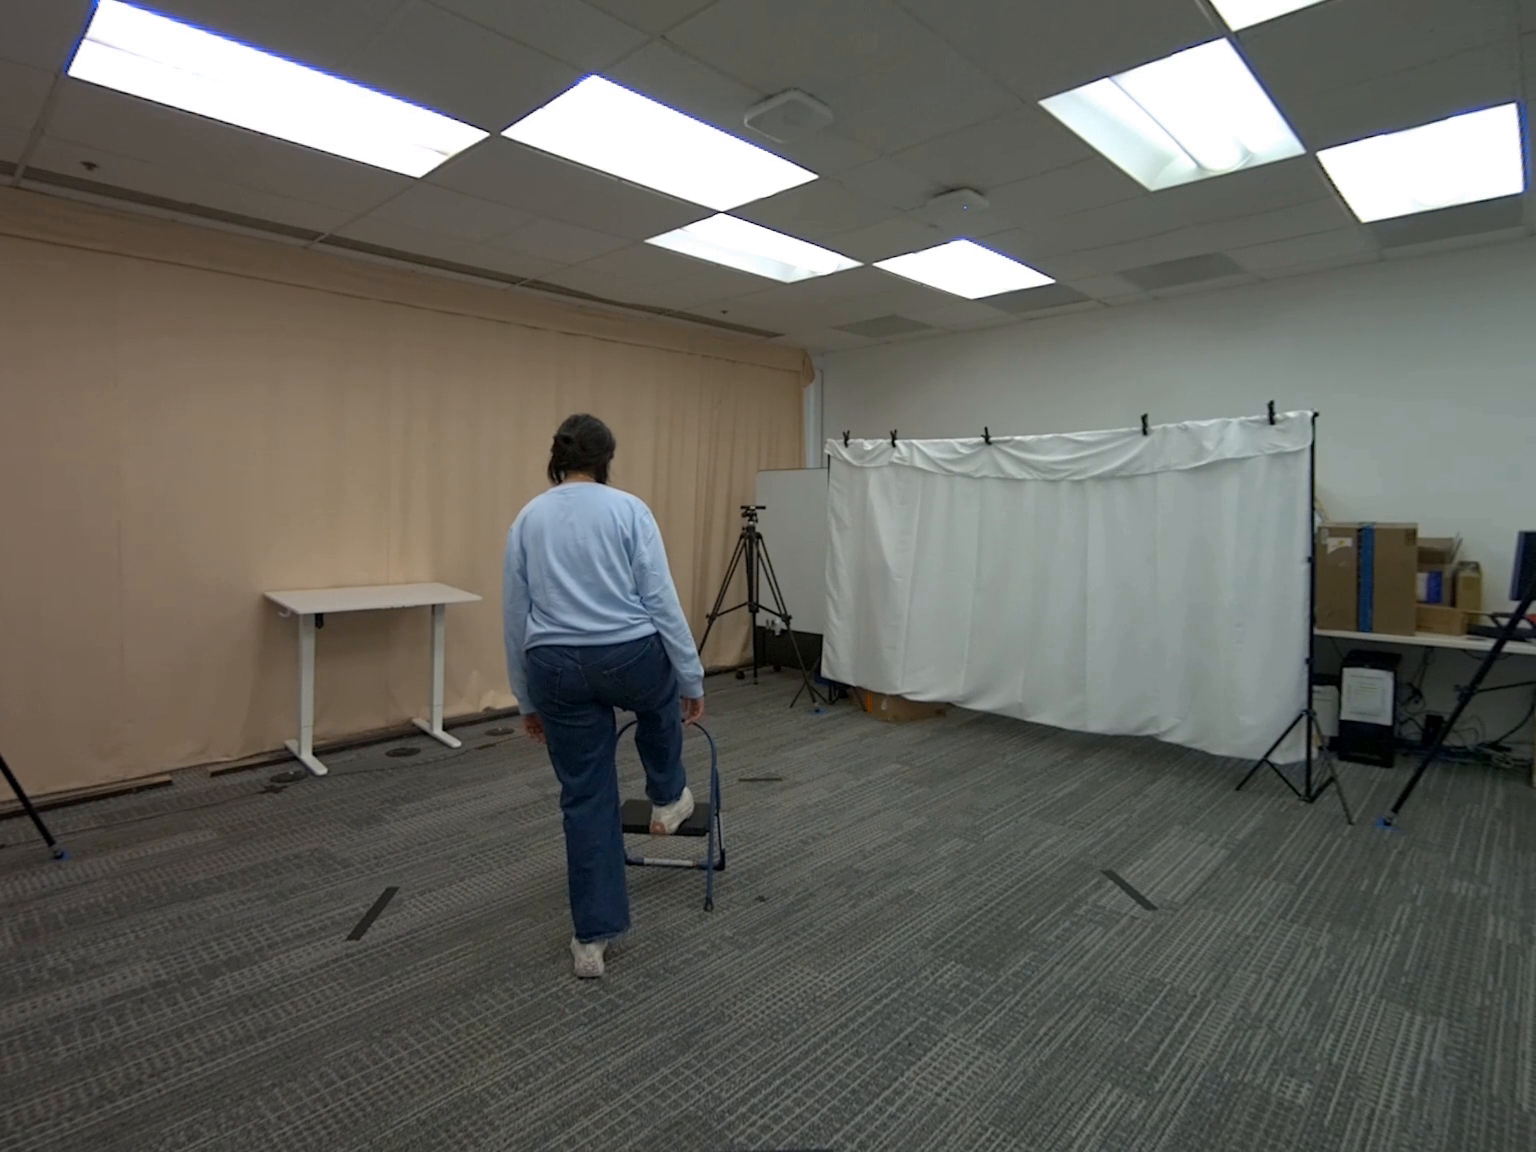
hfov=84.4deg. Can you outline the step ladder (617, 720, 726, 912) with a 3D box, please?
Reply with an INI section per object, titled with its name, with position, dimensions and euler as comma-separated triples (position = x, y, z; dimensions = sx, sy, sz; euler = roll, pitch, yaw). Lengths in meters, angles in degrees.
[step ladder]
position = -0.383, 0.837, 3.090
dimensions = 0.435, 0.605, 0.346
euler = 0, 3, 8
